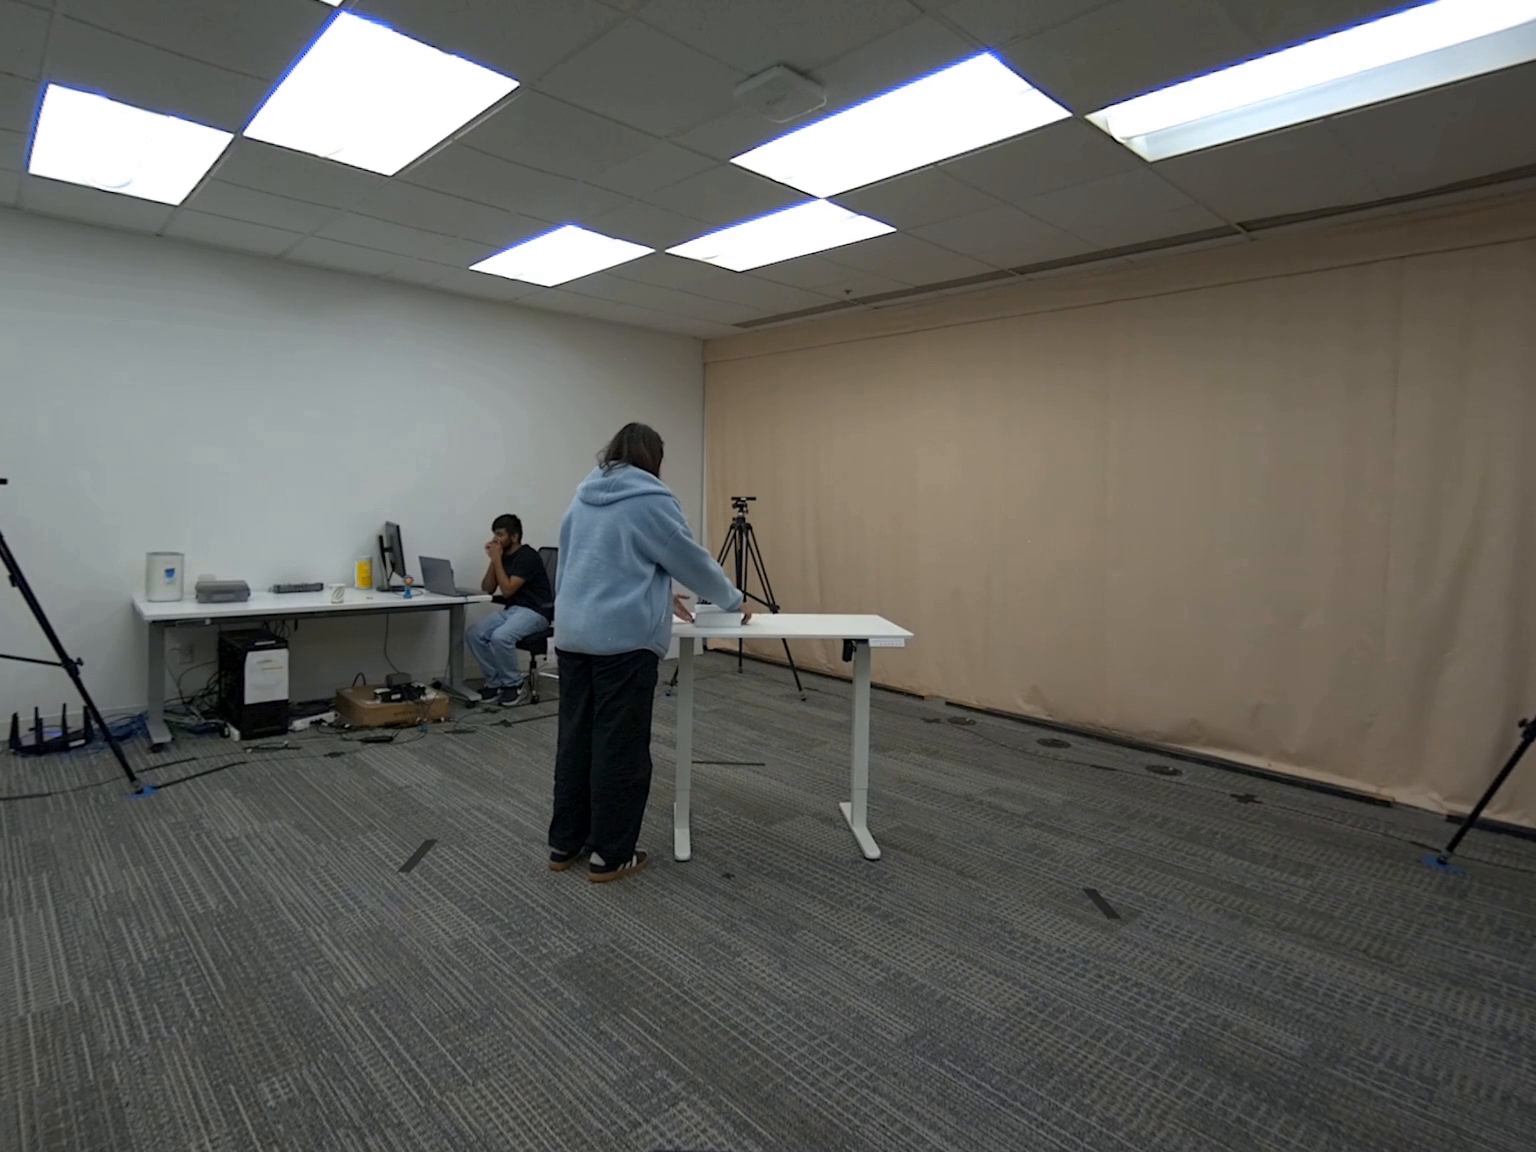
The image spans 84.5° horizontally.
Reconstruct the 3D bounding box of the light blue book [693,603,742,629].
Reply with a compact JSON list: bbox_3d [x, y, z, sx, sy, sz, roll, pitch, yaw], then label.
[{"bbox_3d":[-0.206,0.164,3.469,0.192,0.059,0.261,1,5,1],"label":"light blue book"}]
